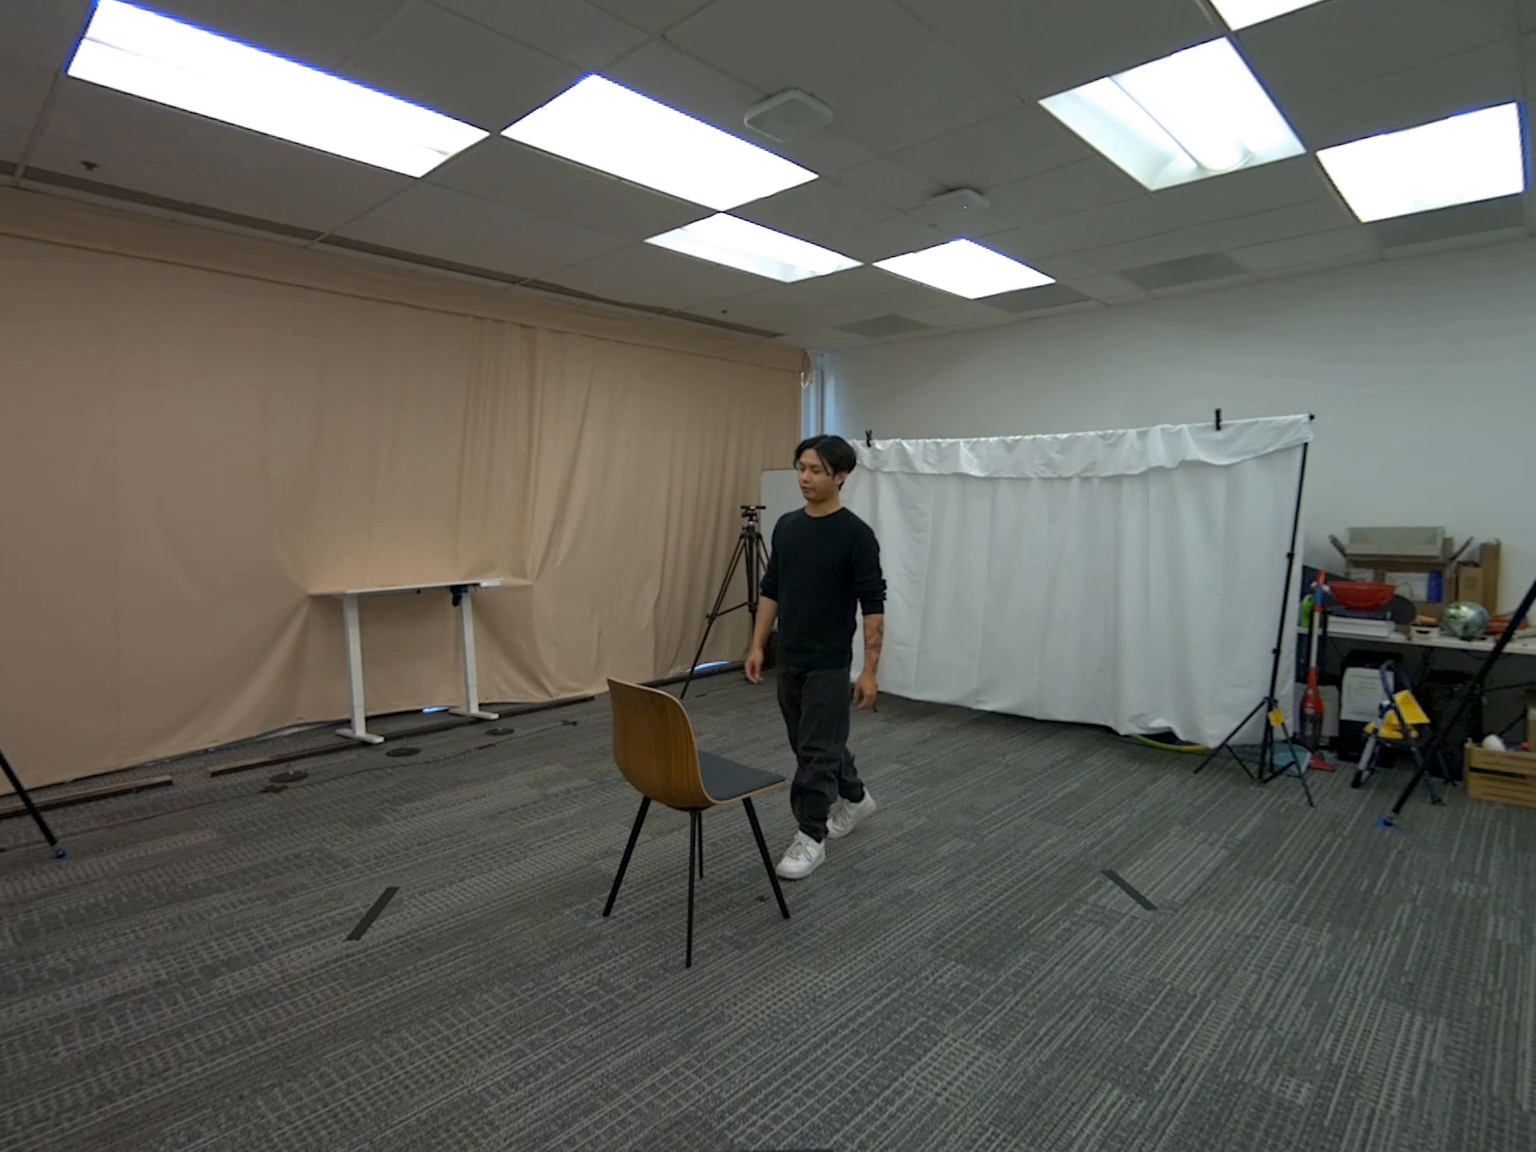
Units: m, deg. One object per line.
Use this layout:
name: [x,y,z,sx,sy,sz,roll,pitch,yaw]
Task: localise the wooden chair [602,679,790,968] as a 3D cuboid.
wooden chair: [-0.238,0.730,2.829,0.508,0.874,0.494,-9,8,-44]
